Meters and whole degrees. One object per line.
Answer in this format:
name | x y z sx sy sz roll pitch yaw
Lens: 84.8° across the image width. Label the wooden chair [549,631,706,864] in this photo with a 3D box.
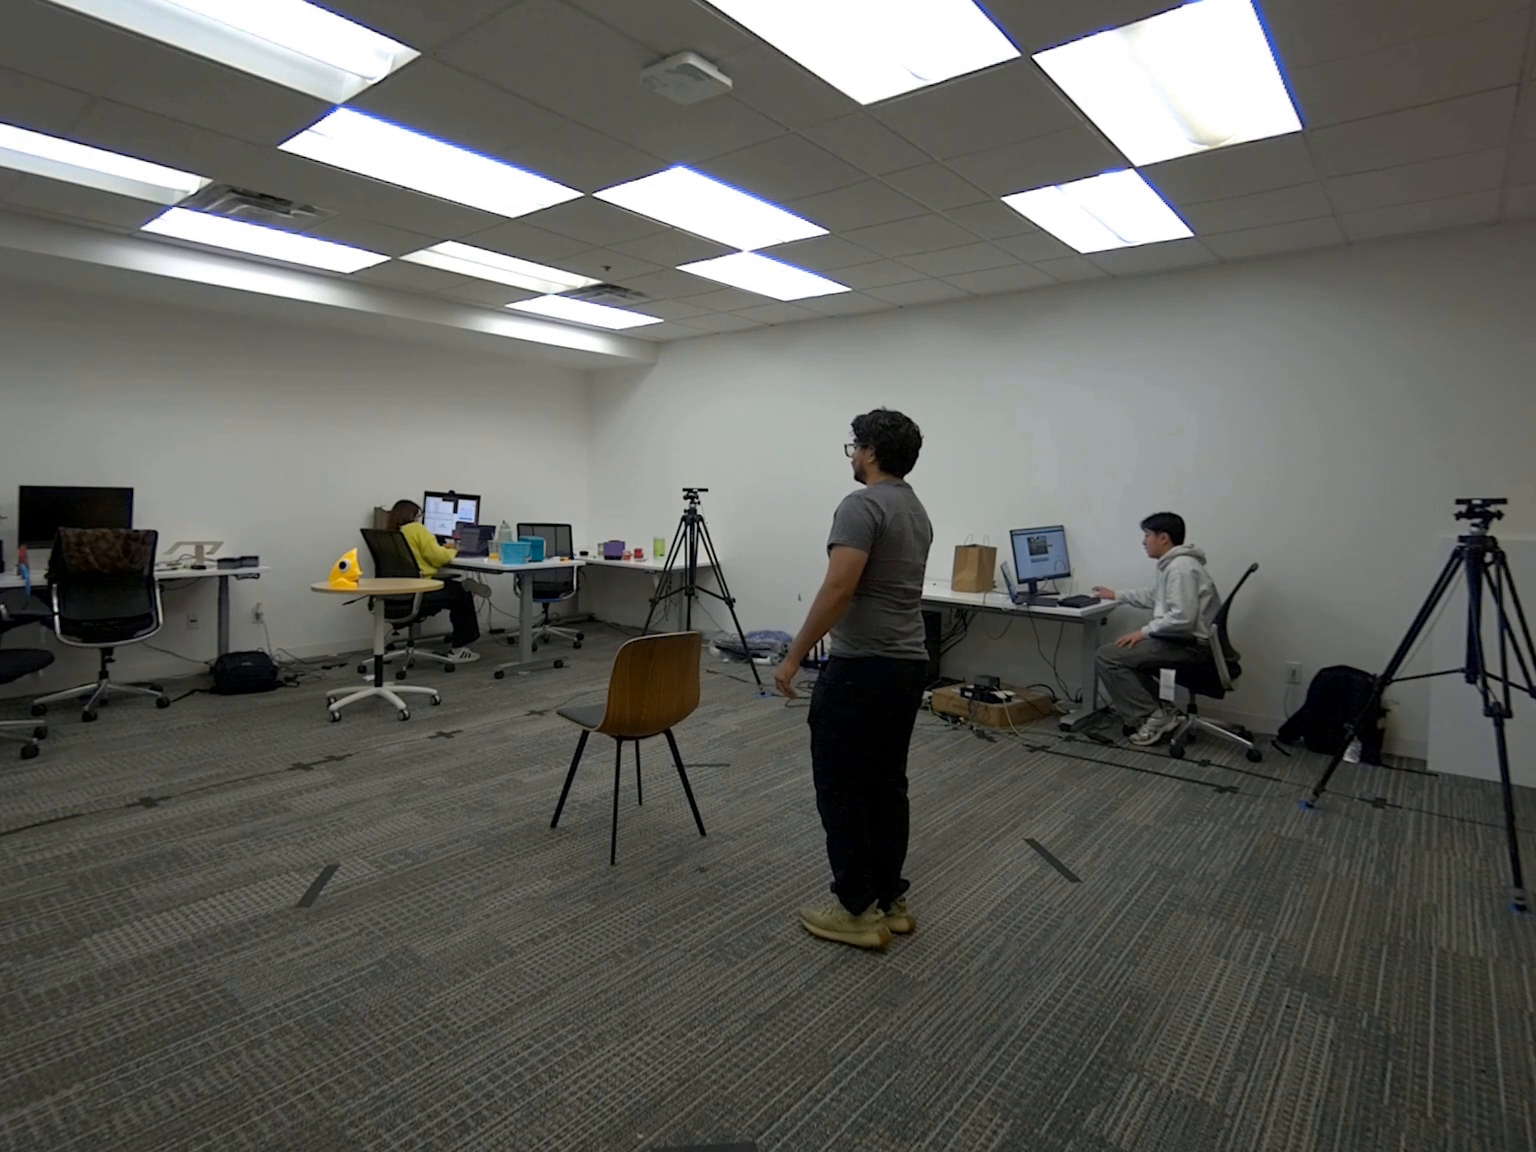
wooden chair | -0.572 0.606 3.420 0.463 0.873 0.542 -1 8 -42
